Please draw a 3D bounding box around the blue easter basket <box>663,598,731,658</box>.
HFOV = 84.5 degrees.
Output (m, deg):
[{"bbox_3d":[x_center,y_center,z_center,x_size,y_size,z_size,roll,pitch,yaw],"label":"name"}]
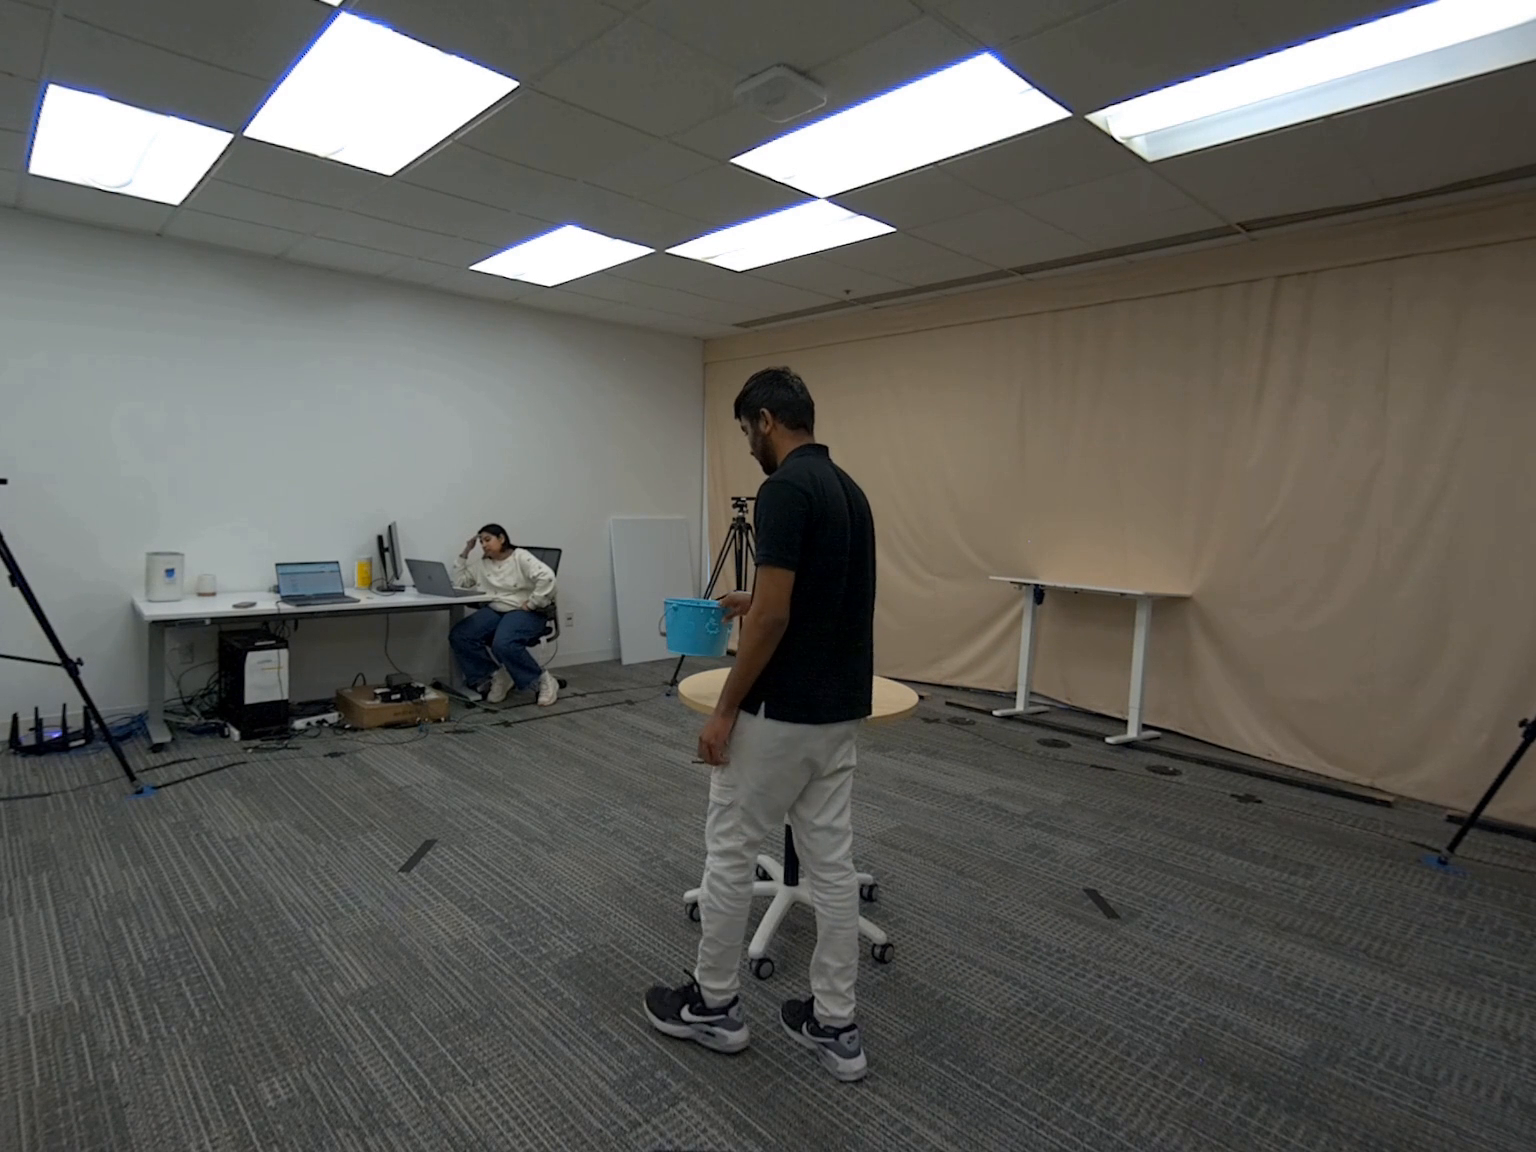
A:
[{"bbox_3d":[-0.217,0.162,2.556,0.243,0.155,0.244,5,3,-2],"label":"blue easter basket"}]
